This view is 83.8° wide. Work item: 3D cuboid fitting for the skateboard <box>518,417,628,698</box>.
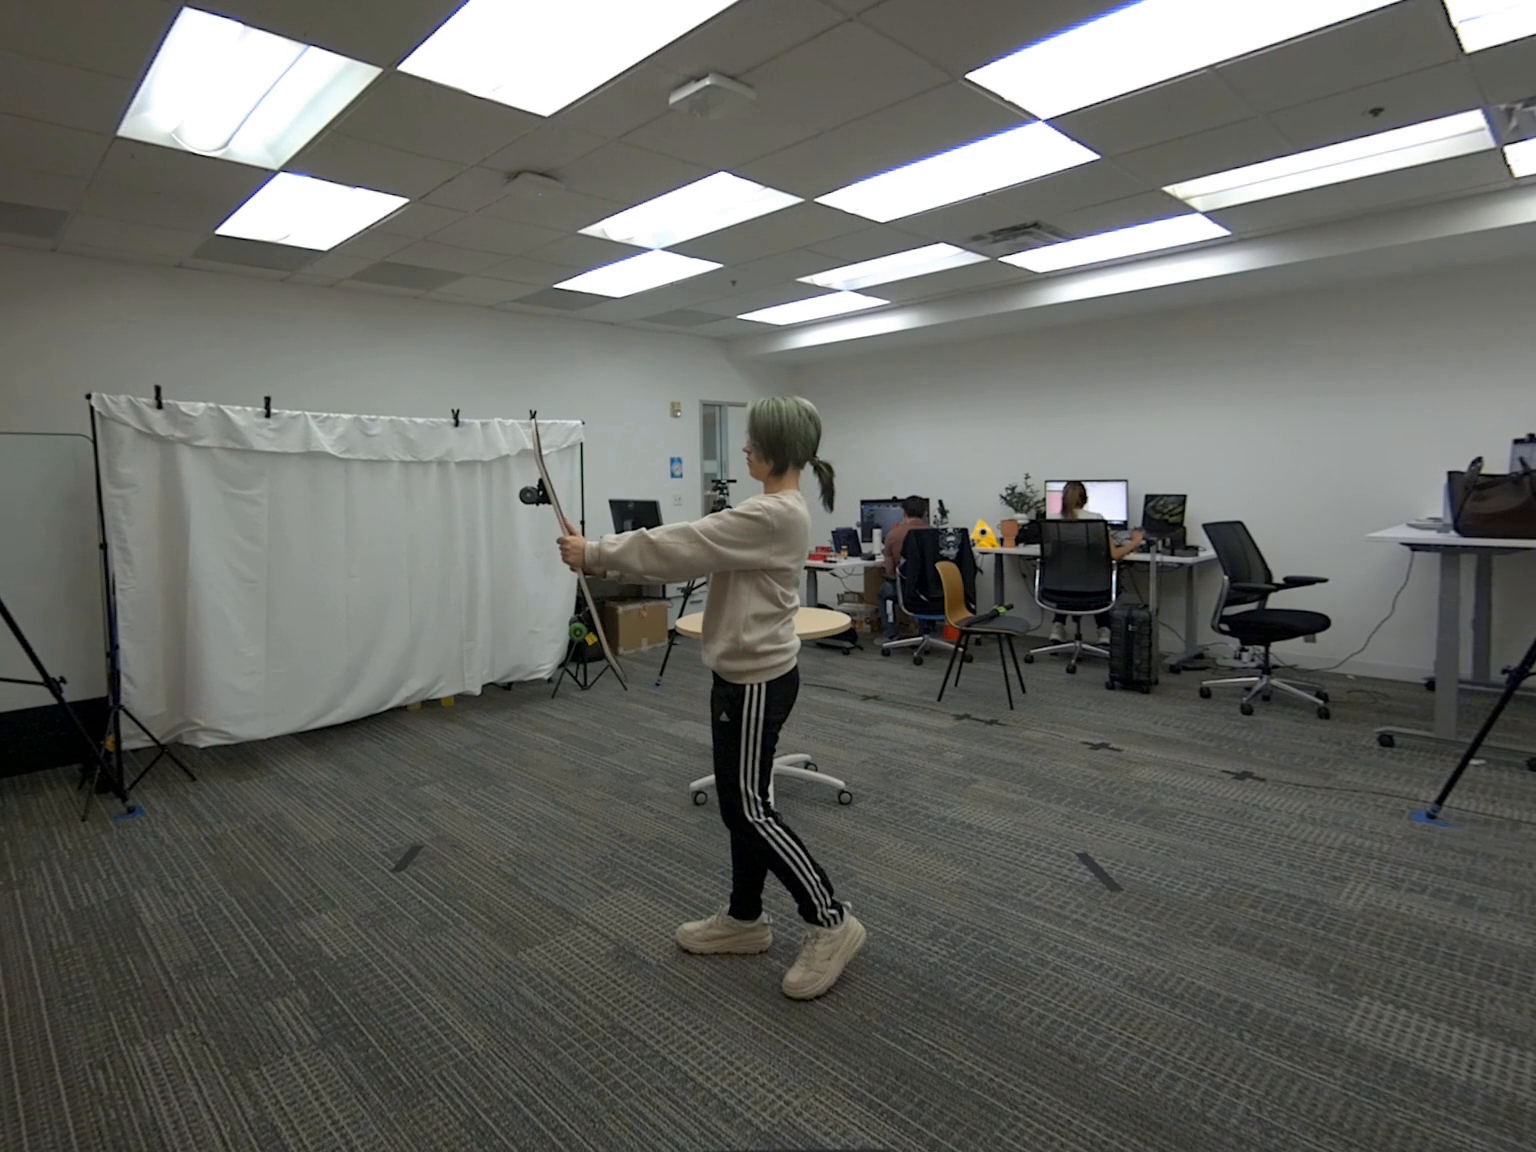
[{"bbox_3d":[-0.567,-0.055,2.401,0.110,0.779,0.196,-20,7,-10],"label":"skateboard"}]
